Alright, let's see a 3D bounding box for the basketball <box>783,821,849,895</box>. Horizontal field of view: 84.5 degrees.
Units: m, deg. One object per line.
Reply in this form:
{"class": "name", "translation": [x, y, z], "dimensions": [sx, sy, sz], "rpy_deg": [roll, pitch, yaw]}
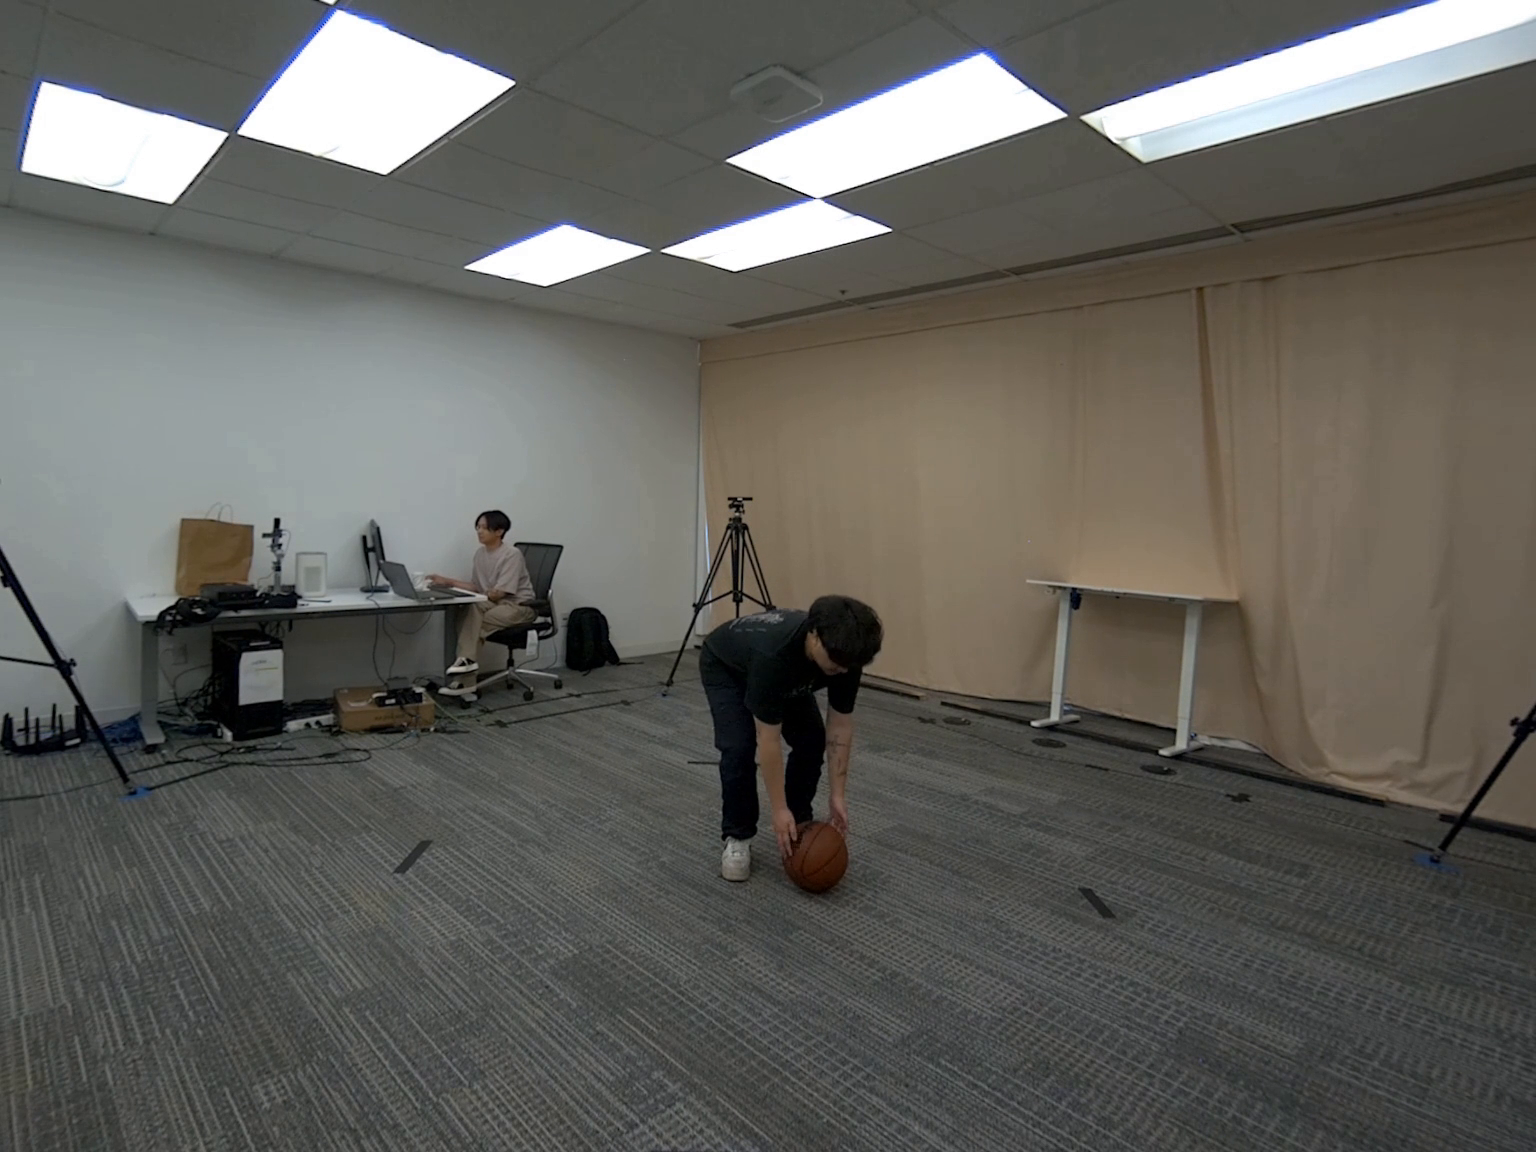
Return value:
{"class": "basketball", "translation": [0.162, 1.004, 3.012], "dimensions": [0.236, 0.235, 0.237], "rpy_deg": [1, 4, -1]}
